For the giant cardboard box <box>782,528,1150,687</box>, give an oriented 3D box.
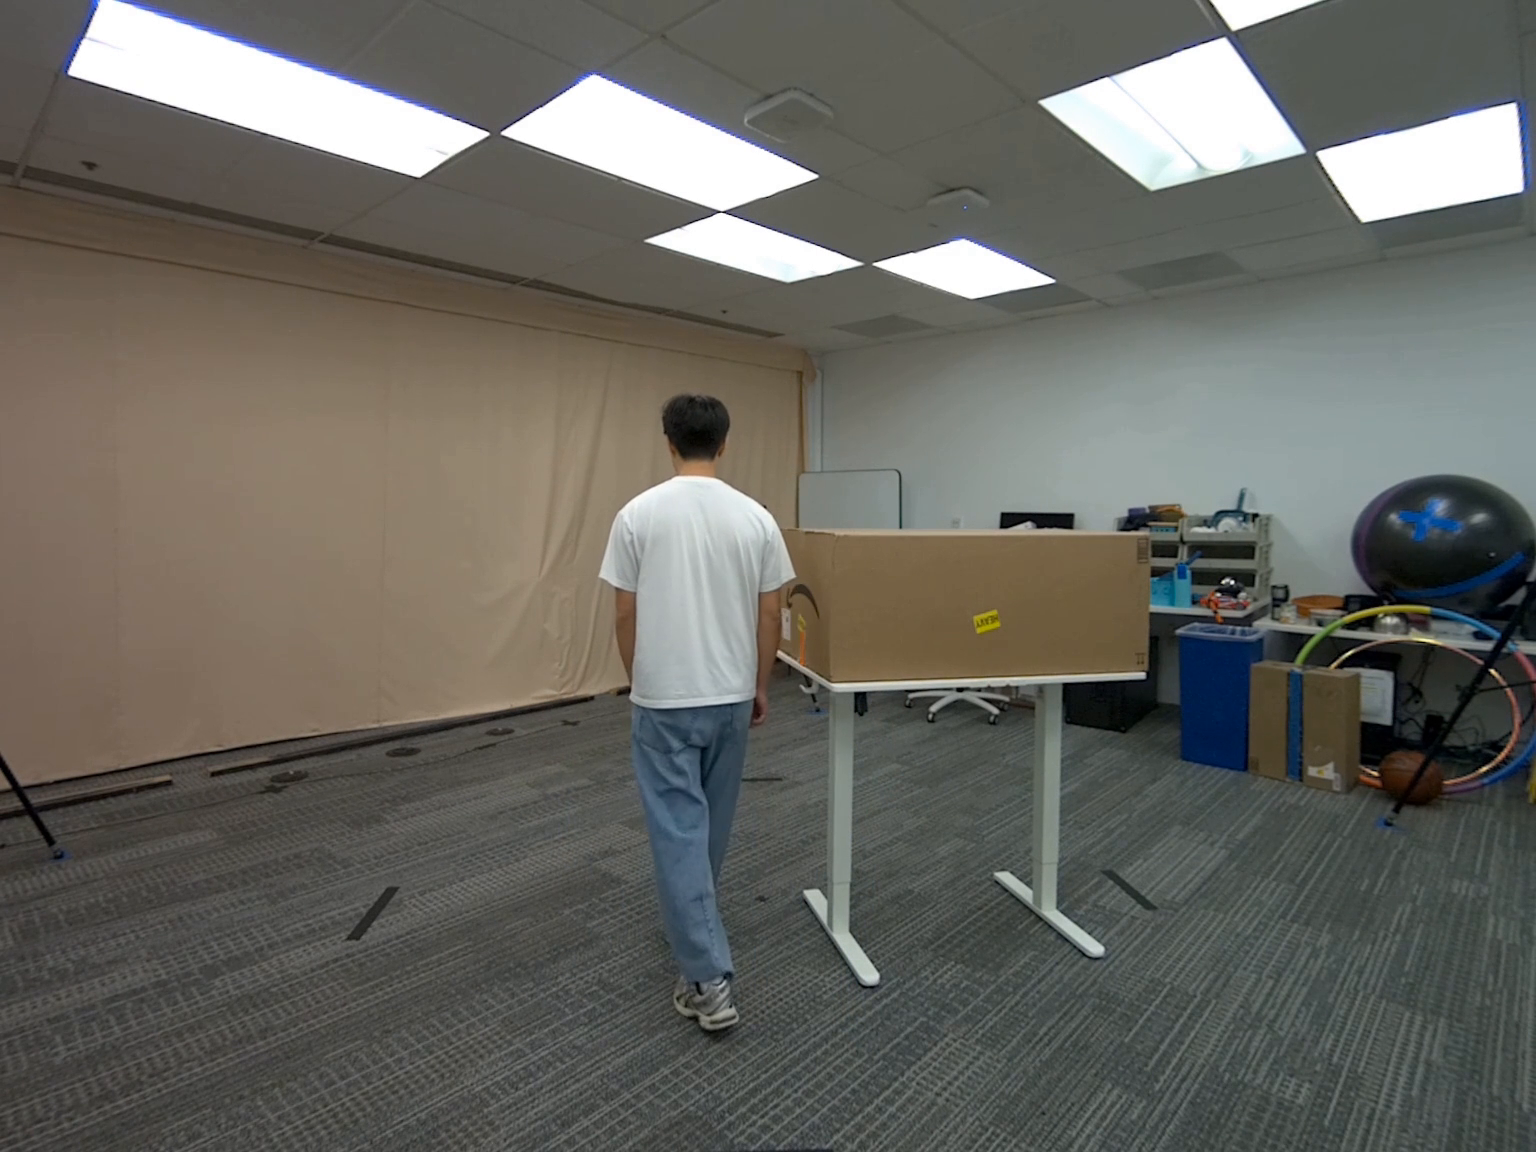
[{"bbox_3d":[0.605,0.067,2.756,1.013,0.425,0.585,0,3,-12],"label":"giant cardboard box"}]
